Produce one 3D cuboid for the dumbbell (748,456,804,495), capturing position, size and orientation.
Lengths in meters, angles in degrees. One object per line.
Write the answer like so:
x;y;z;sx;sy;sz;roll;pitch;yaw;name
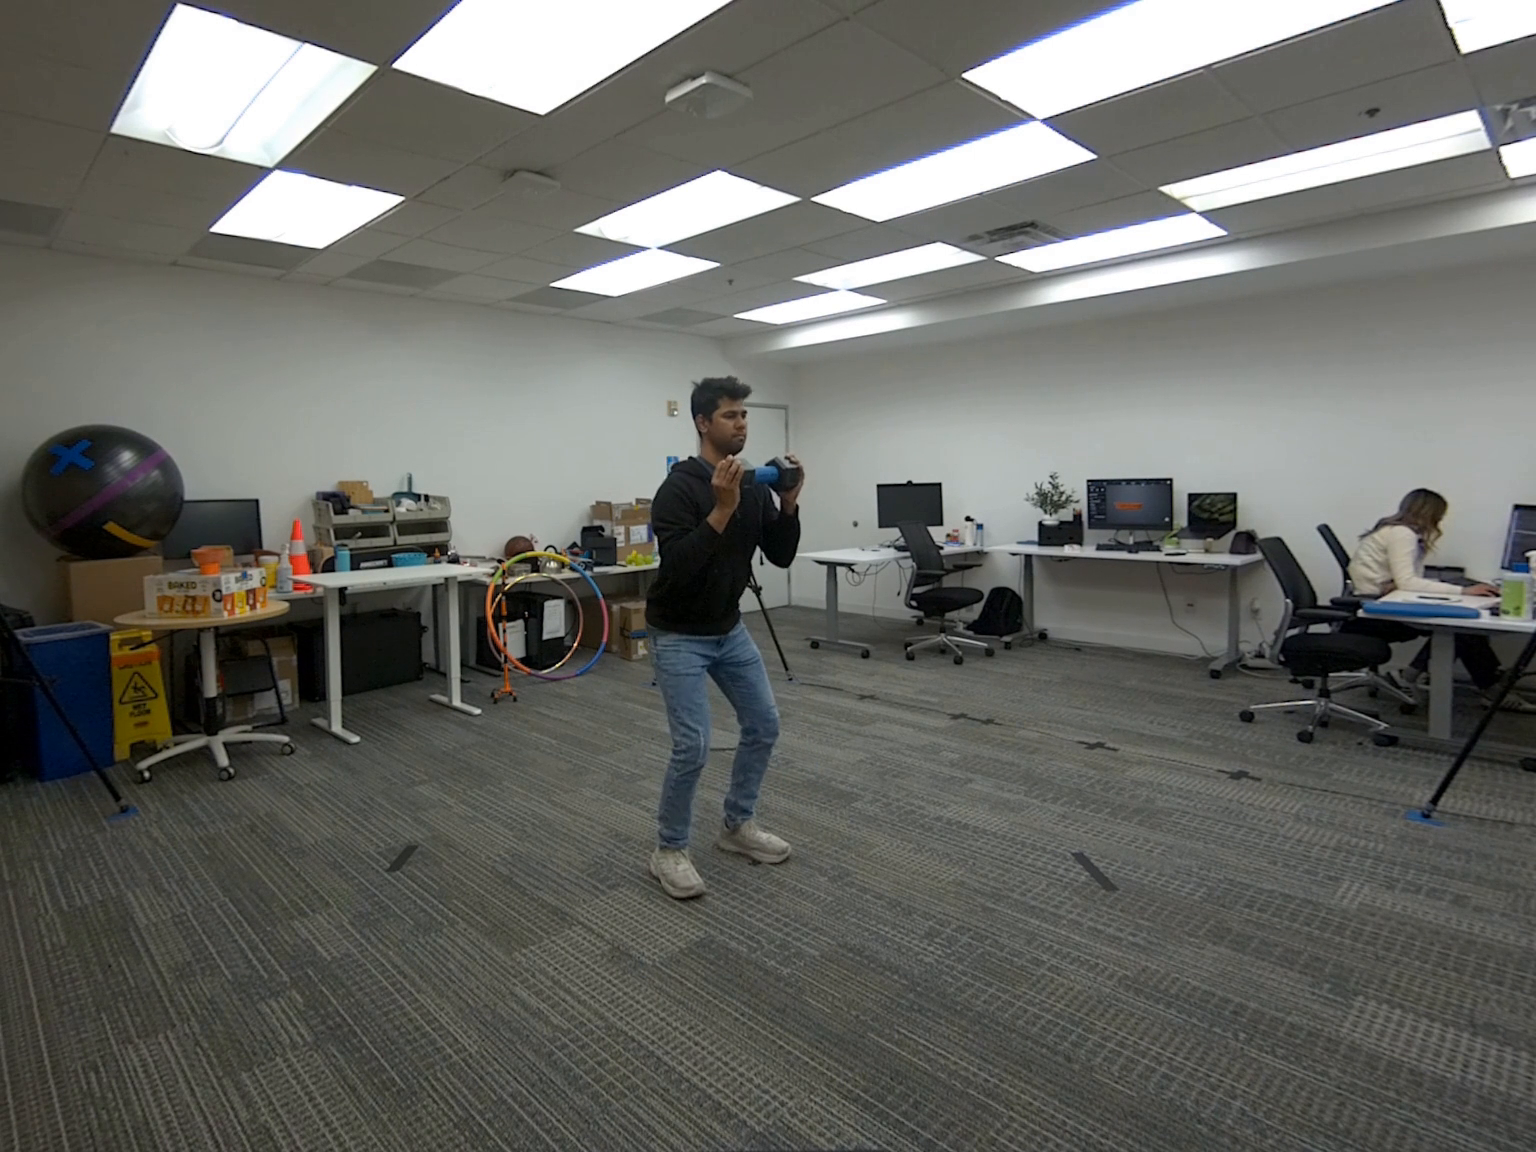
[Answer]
-0.040;-0.324;2.852;0.286;0.122;0.112;-9;17;-42;dumbbell
